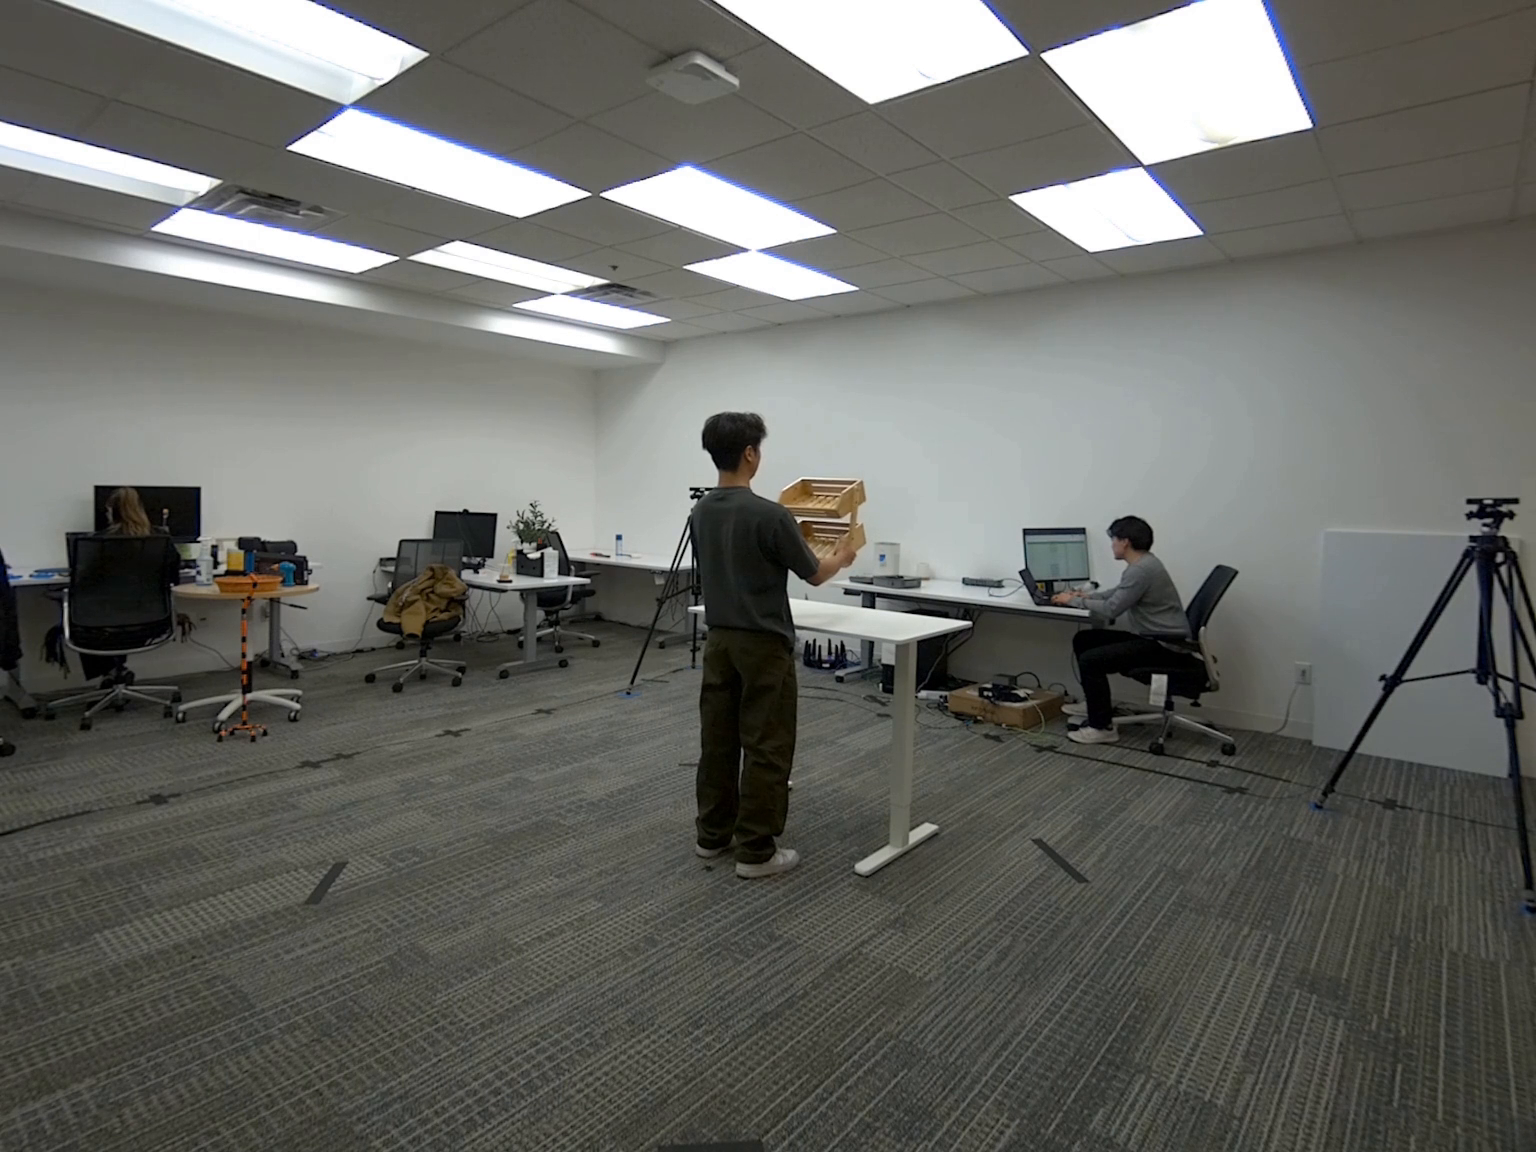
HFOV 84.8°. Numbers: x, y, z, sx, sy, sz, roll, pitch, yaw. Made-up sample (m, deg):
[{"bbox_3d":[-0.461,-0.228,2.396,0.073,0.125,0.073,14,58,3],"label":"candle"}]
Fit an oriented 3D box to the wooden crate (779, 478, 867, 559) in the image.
[{"bbox_3d":[0.189,-0.230,3.448,0.336,0.267,0.299,7,29,39],"label":"wooden crate"}]
